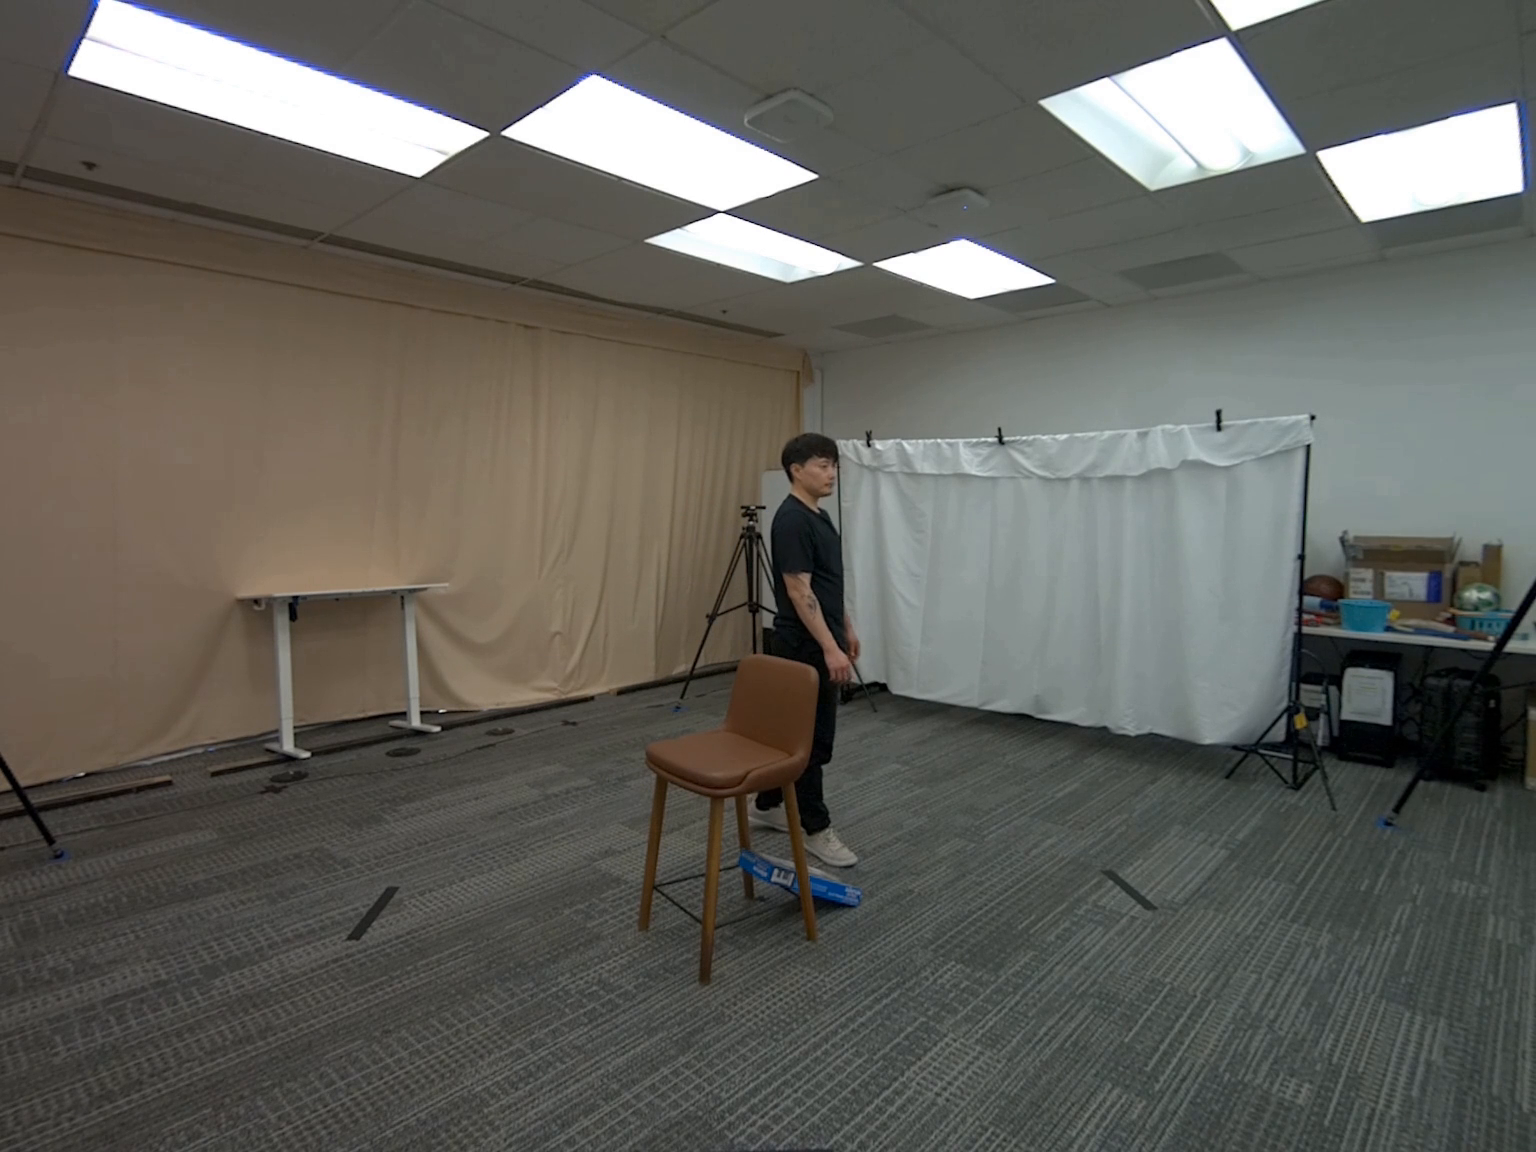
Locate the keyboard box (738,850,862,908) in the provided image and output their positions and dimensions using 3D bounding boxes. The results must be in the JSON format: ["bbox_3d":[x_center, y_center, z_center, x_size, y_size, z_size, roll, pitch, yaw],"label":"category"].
[{"bbox_3d":[0.113,1.036,2.886,0.422,0.059,0.181,28,-13,-33],"label":"keyboard box"}]
